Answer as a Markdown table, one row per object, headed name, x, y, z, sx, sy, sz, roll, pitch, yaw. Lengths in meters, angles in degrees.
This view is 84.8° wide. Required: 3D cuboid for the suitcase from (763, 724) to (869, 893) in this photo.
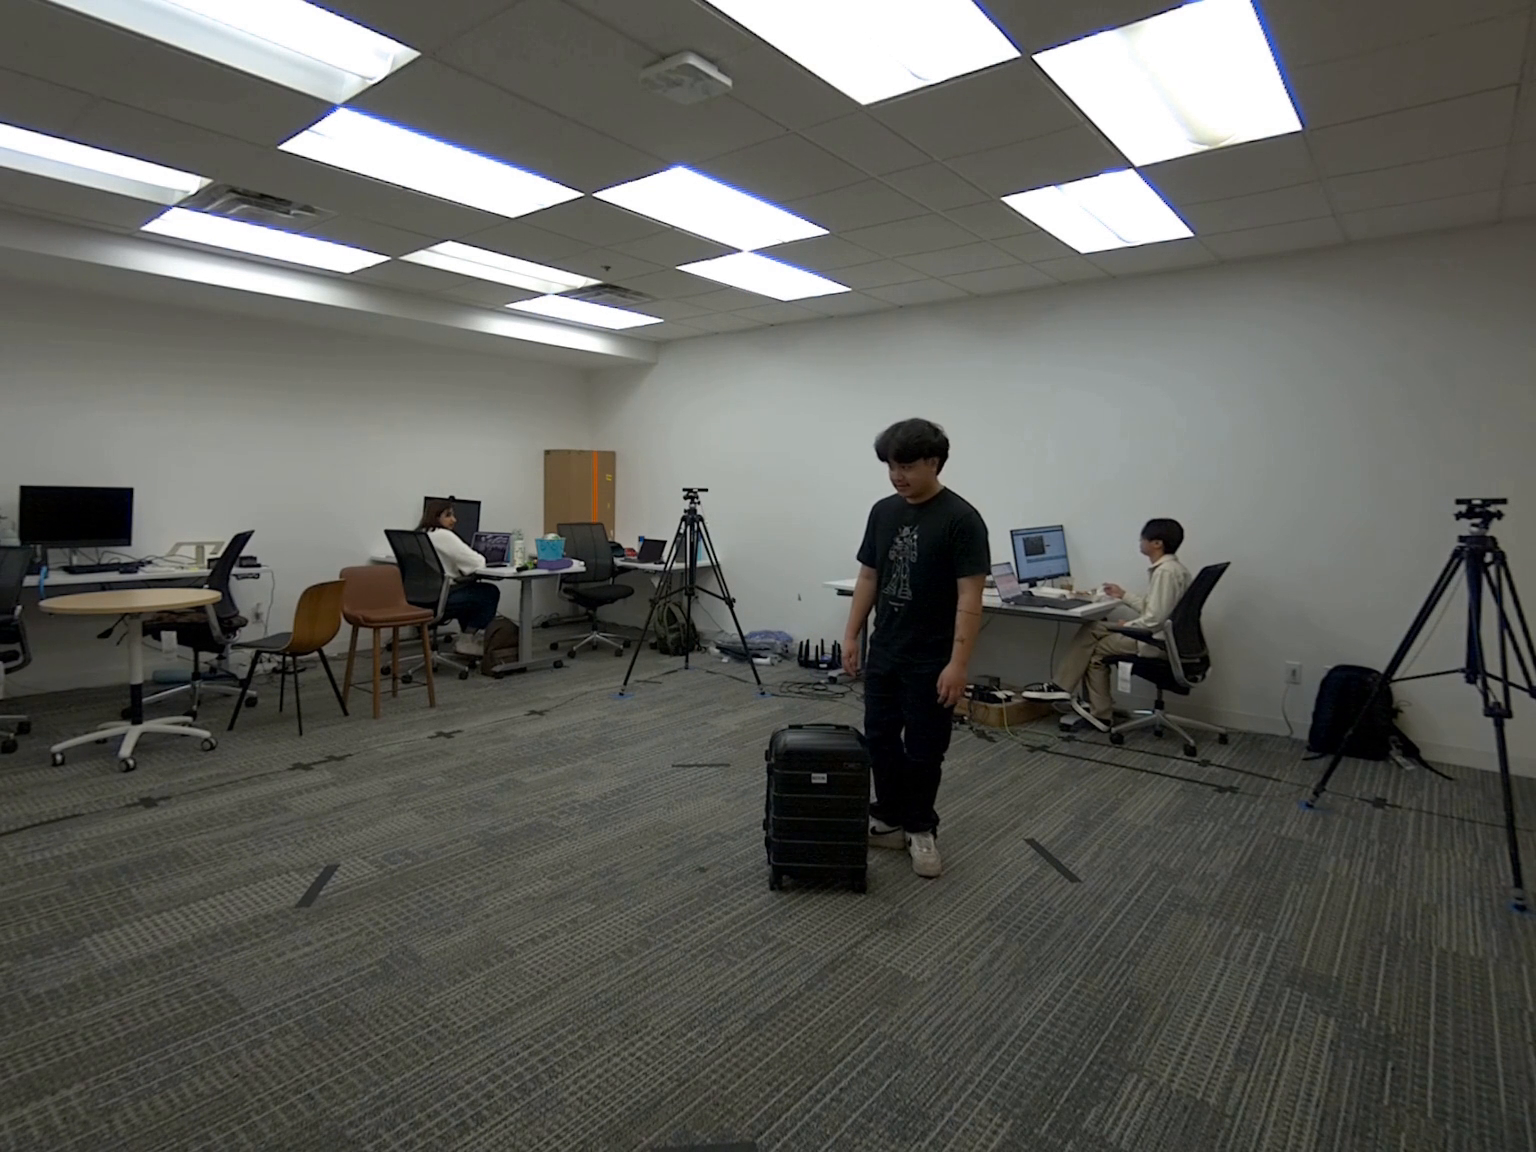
| name | x | y | z | sx | sy | sz | roll | pitch | yaw |
| --- | --- | --- | --- | --- | --- | --- | --- | --- | --- |
| suitcase | 0.173 | 0.808 | 3.040 | 0.375 | 0.547 | 0.250 | 1 | 5 | -1 |
